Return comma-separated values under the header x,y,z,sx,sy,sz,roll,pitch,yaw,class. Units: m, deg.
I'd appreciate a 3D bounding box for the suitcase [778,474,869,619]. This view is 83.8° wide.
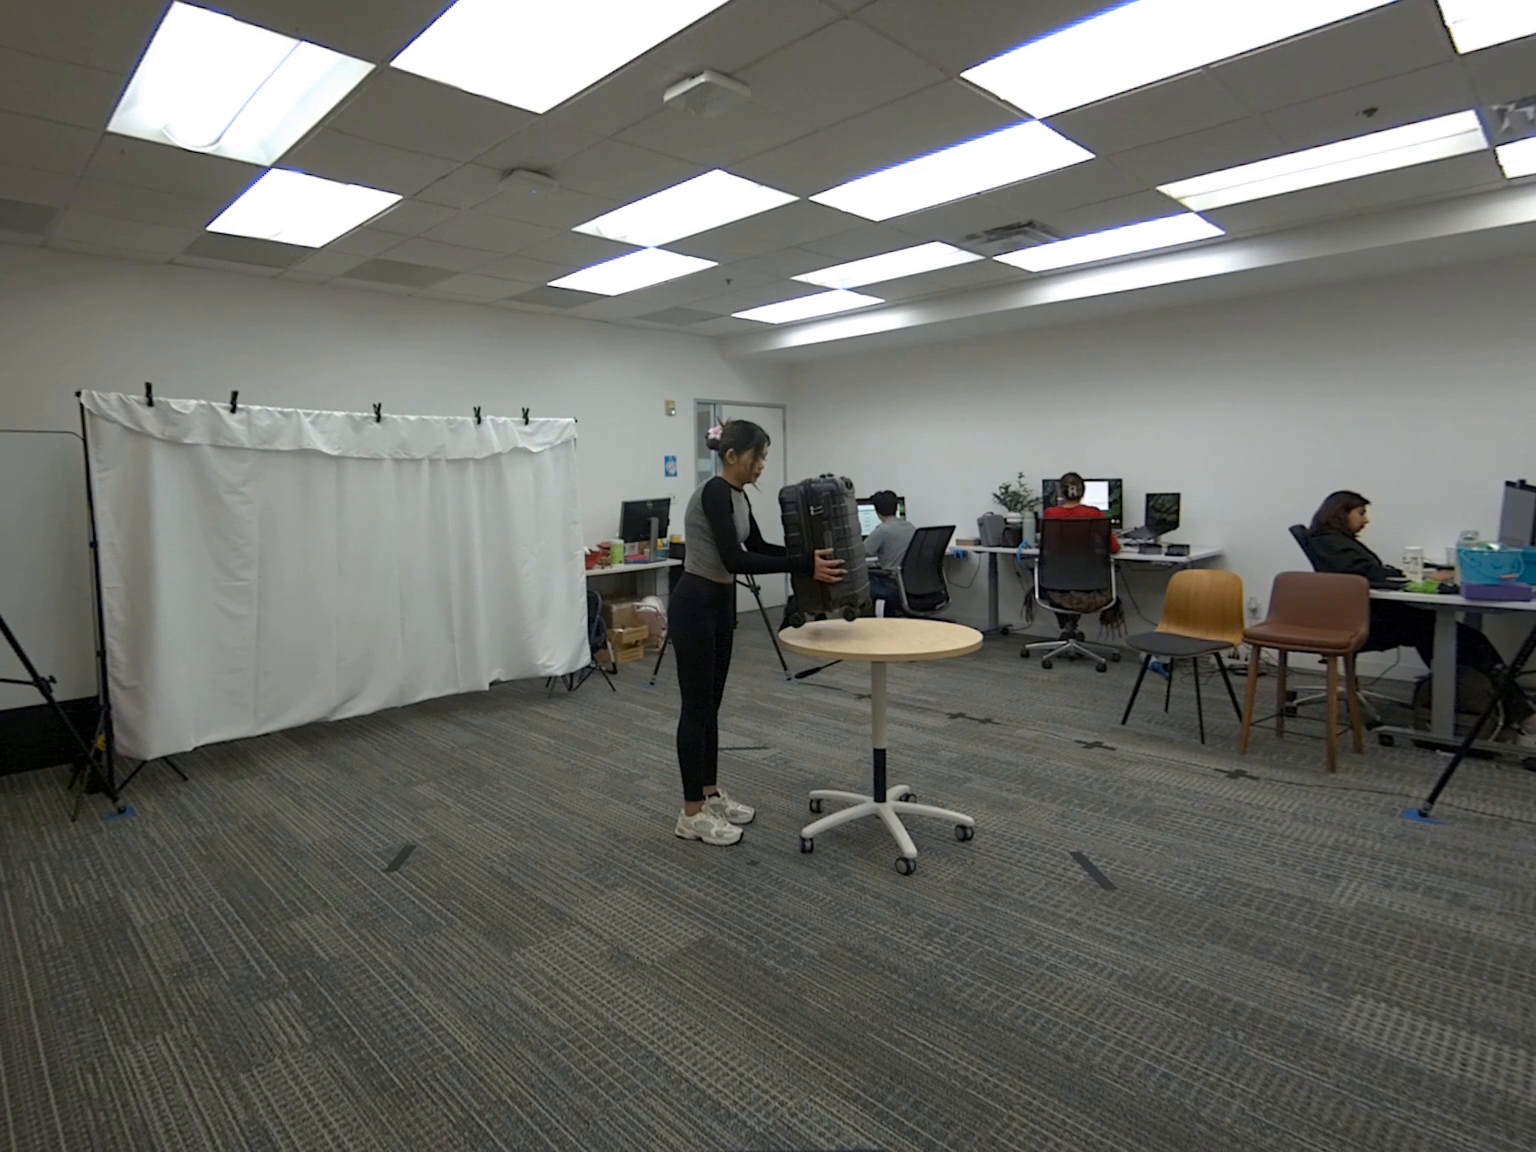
x,y,z,sx,sy,sz,roll,pitch,yaw,class
0.218,-0.115,3.293,0.252,0.548,0.370,-8,2,18,suitcase
